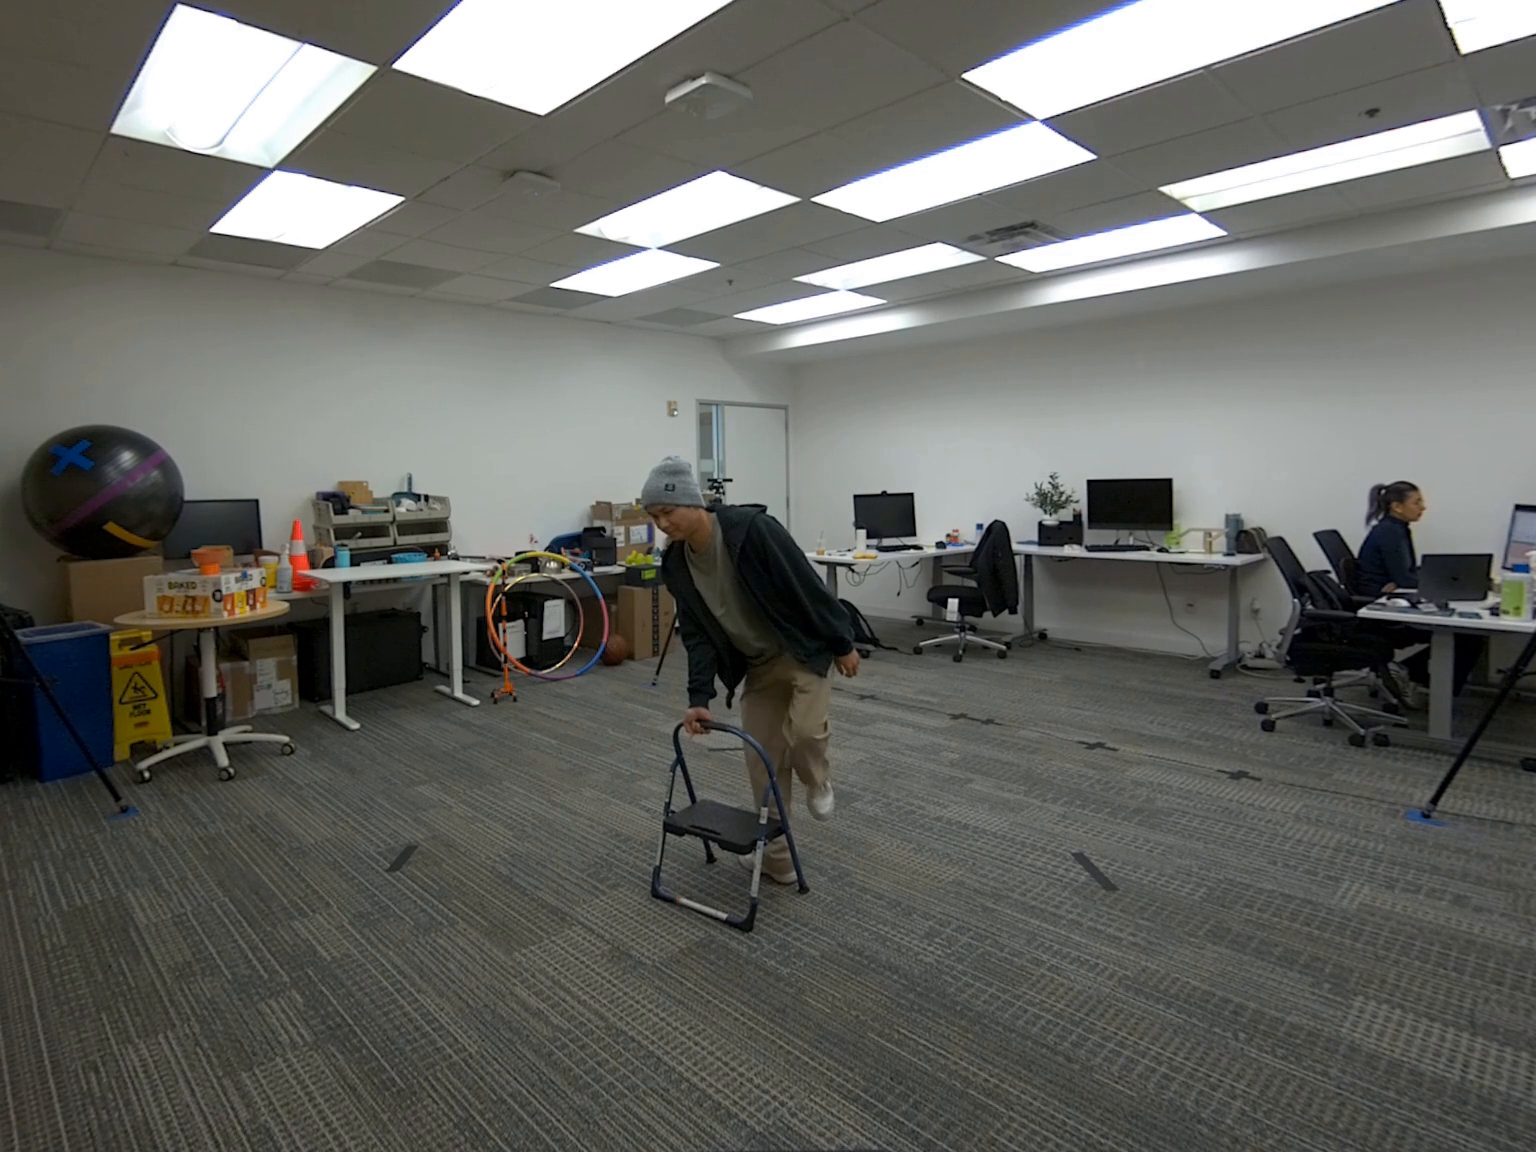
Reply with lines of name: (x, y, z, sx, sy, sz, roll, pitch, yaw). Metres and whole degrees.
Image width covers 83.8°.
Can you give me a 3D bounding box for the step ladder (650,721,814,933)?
step ladder: (-0.135, 0.772, 2.863, 0.443, 0.604, 0.341, 2, 5, 35)
